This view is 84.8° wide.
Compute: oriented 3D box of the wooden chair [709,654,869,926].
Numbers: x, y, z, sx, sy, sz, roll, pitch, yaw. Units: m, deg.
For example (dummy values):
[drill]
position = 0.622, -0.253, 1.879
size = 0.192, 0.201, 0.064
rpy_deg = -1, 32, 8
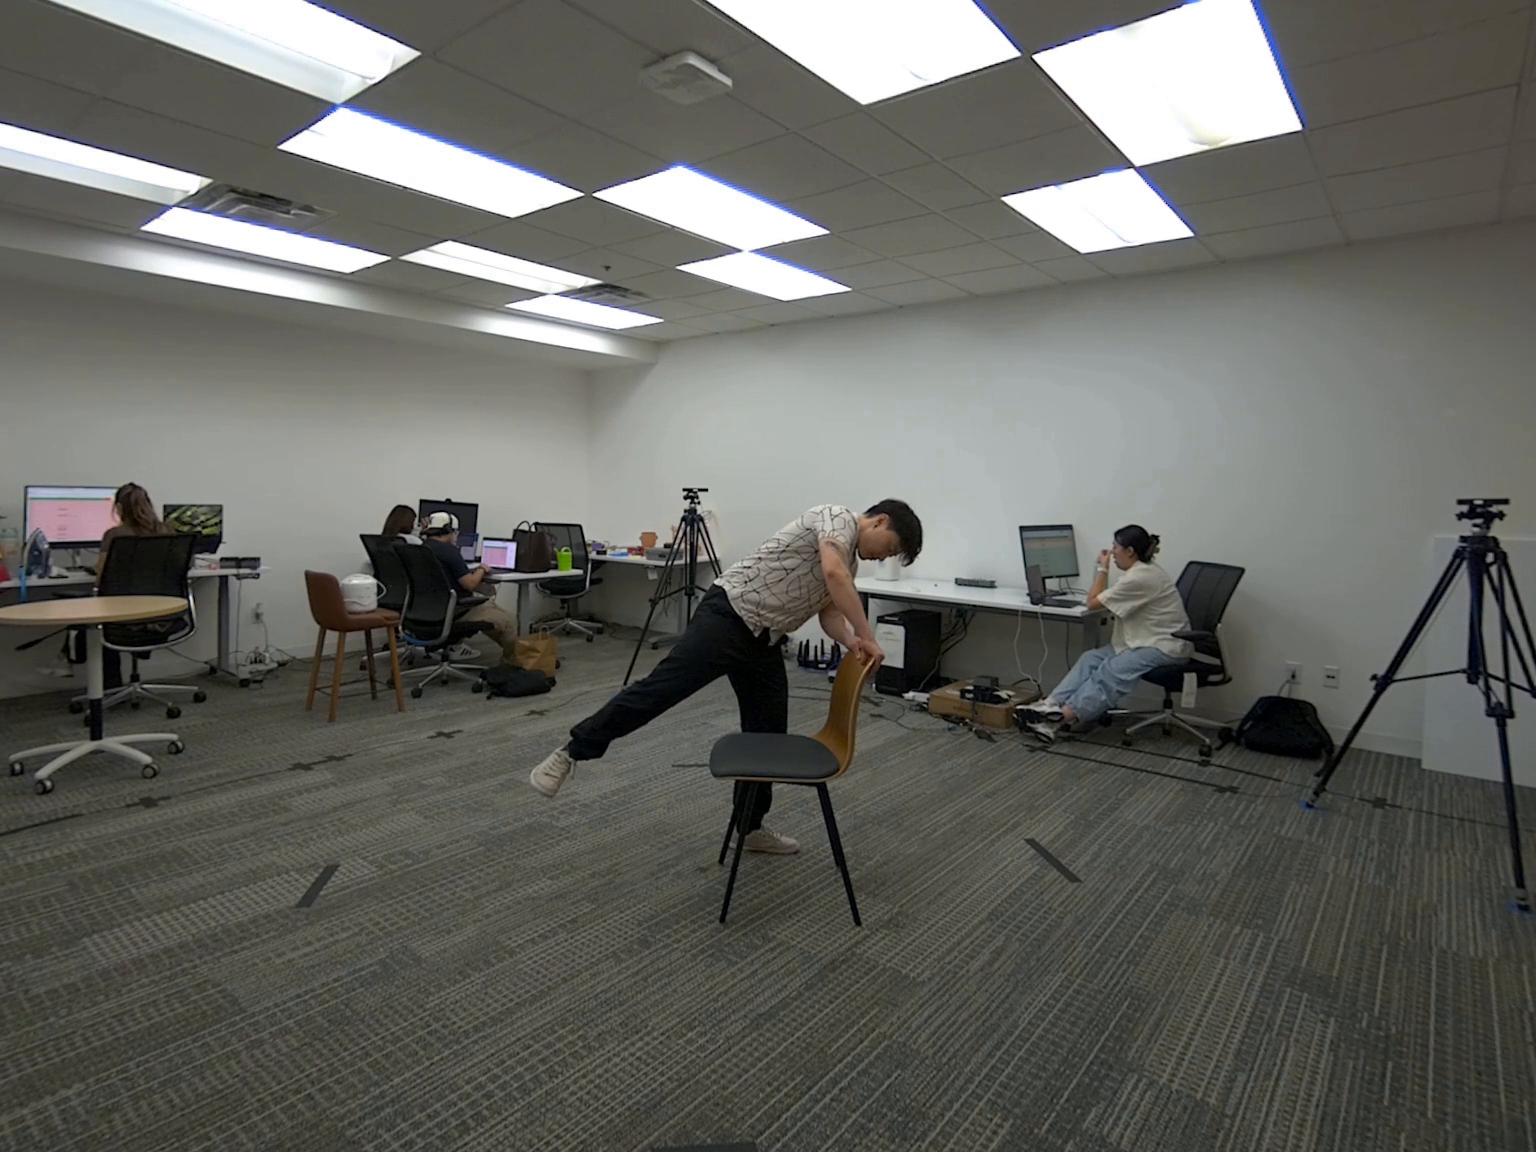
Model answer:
[wooden chair]
position = 0.052, 0.666, 2.912
size = 0.523, 0.875, 0.480
rpy_deg = 6, 3, -2
